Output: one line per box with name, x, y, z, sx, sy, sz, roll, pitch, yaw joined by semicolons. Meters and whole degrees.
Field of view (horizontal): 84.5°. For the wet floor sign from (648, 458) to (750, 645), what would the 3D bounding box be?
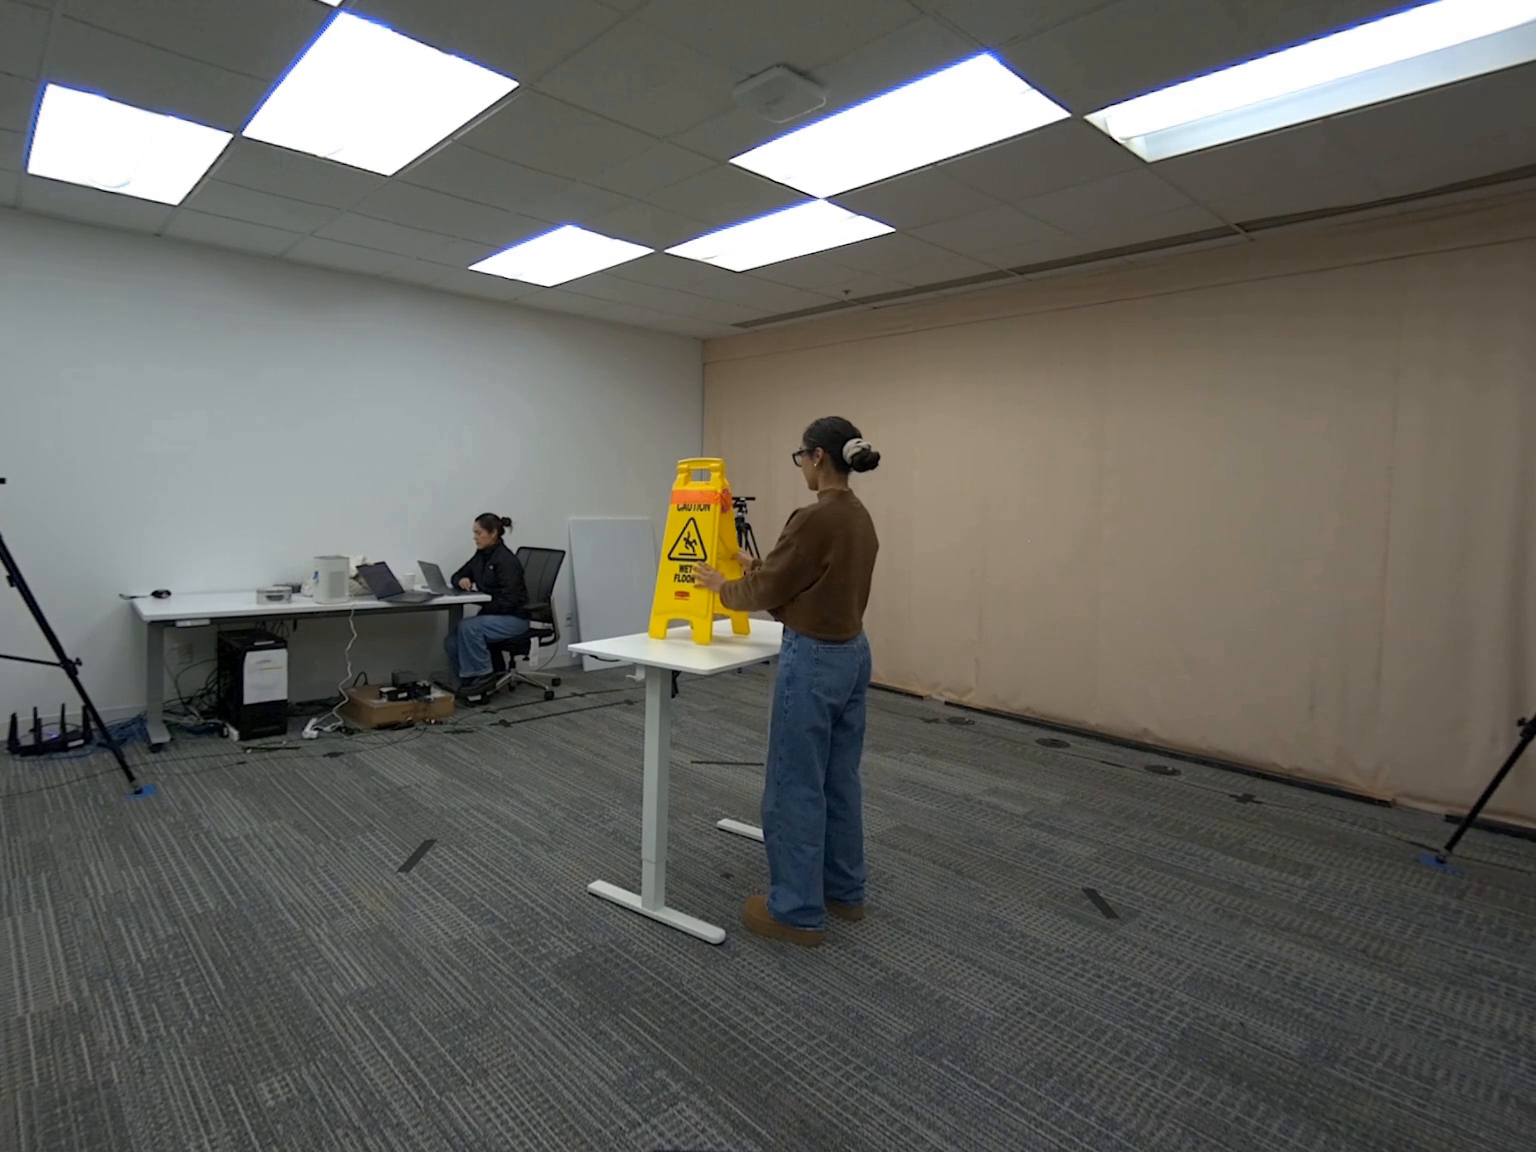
wet floor sign;-0.255;-0.100;3.069;0.288;0.645;0.284;1;3;33
